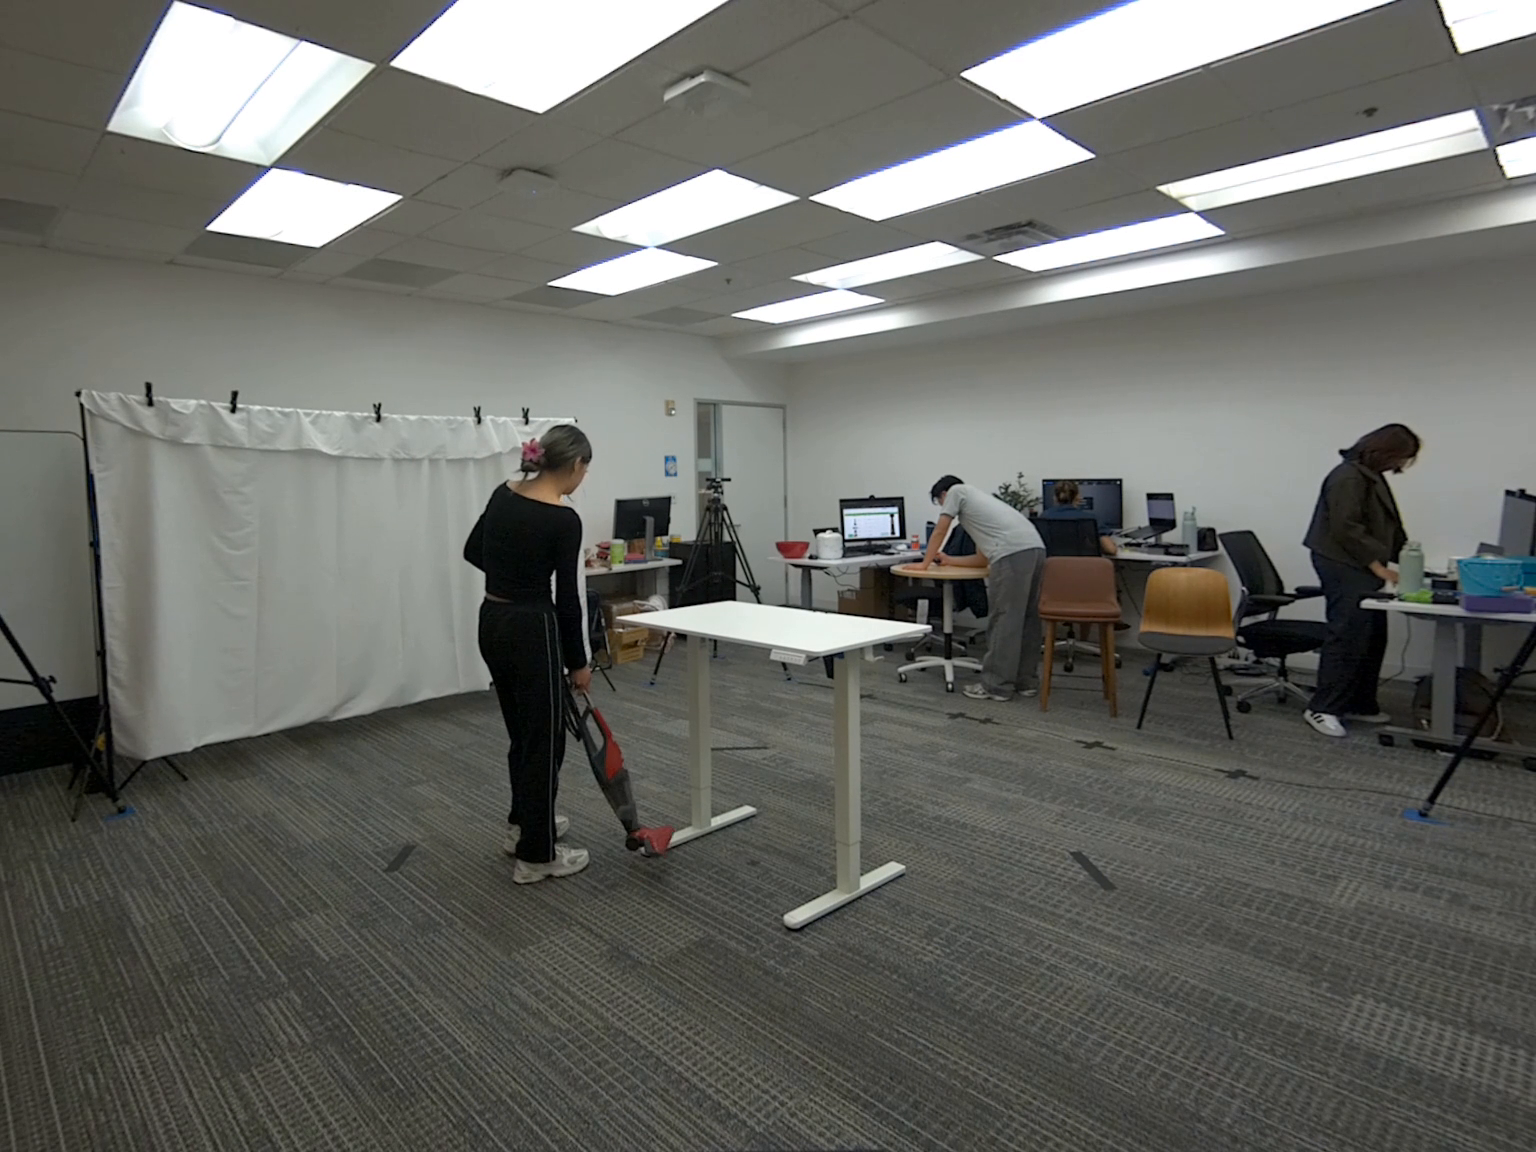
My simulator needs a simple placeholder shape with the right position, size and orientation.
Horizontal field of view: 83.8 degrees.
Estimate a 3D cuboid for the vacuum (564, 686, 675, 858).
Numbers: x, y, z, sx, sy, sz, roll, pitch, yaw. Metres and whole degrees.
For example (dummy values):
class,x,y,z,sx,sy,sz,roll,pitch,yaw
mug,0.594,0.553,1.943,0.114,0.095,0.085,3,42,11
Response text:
class,x,y,z,sx,sy,sz,roll,pitch,yaw
vacuum,-0.664,0.491,3.099,0.145,1.055,0.250,-28,-4,10
